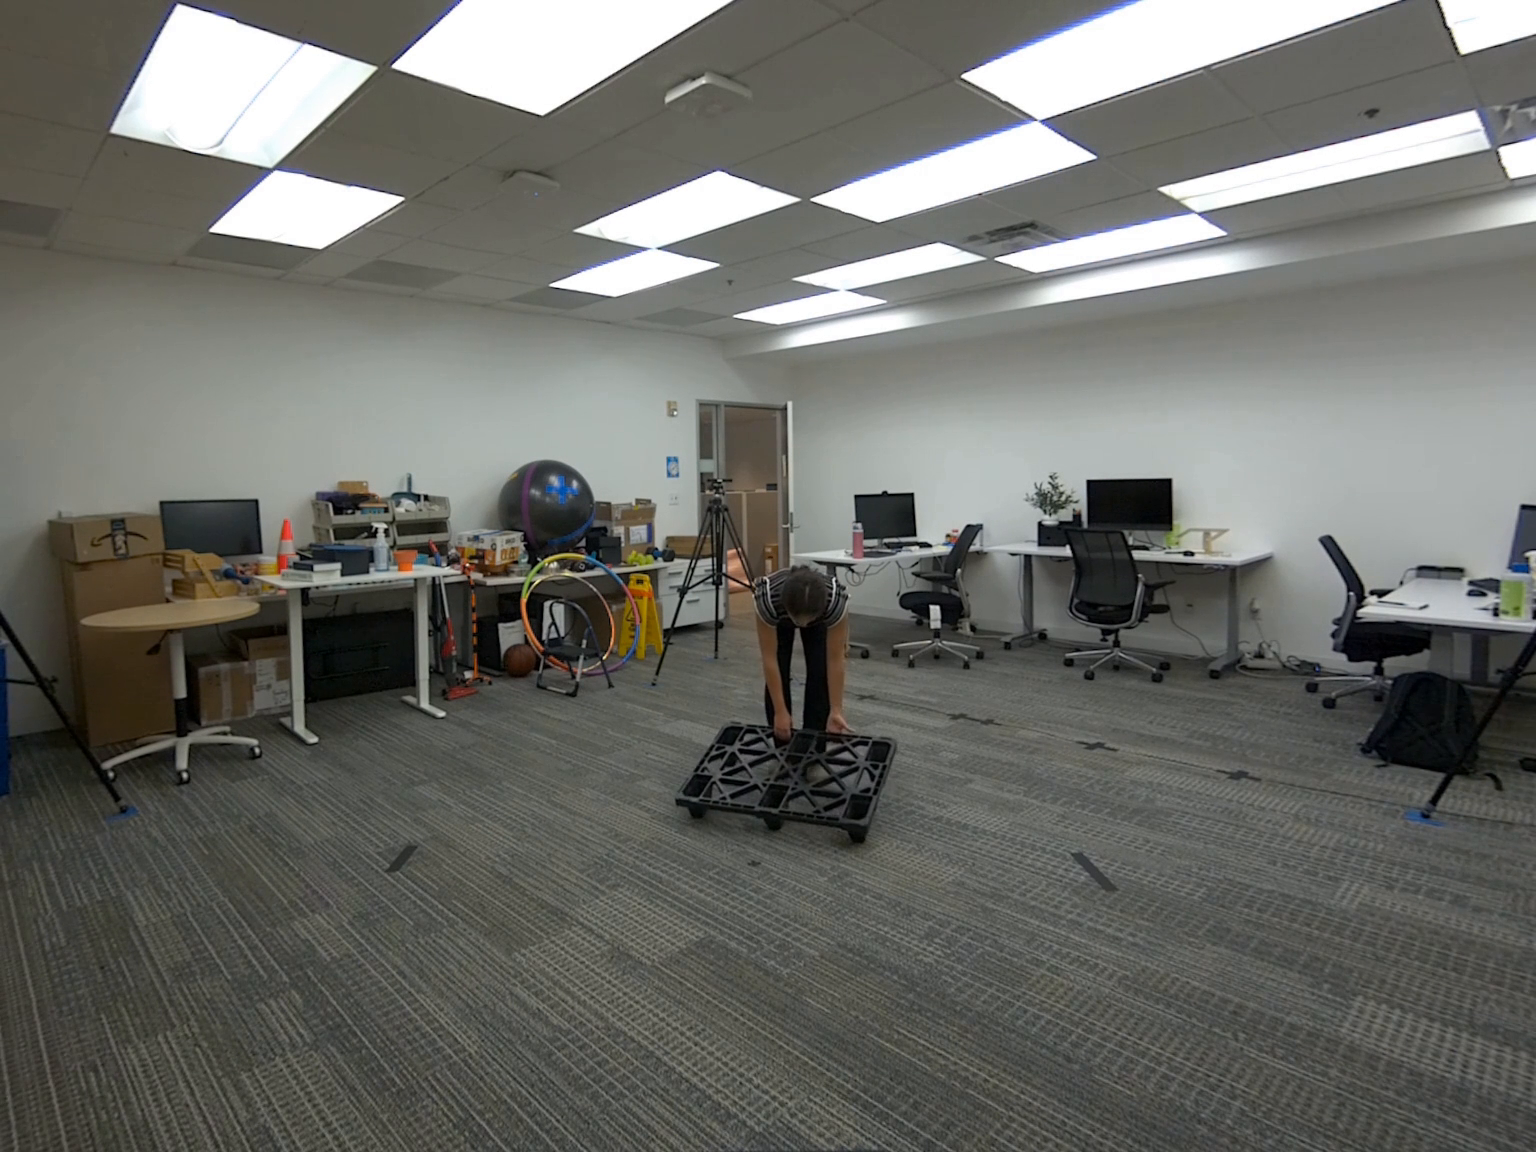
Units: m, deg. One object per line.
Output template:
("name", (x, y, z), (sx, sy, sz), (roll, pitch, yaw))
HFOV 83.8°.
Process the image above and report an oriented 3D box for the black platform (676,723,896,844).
("black platform", (0.094, 0.865, 3.590), (0.822, 0.140, 0.604), (1, 23, 22))
